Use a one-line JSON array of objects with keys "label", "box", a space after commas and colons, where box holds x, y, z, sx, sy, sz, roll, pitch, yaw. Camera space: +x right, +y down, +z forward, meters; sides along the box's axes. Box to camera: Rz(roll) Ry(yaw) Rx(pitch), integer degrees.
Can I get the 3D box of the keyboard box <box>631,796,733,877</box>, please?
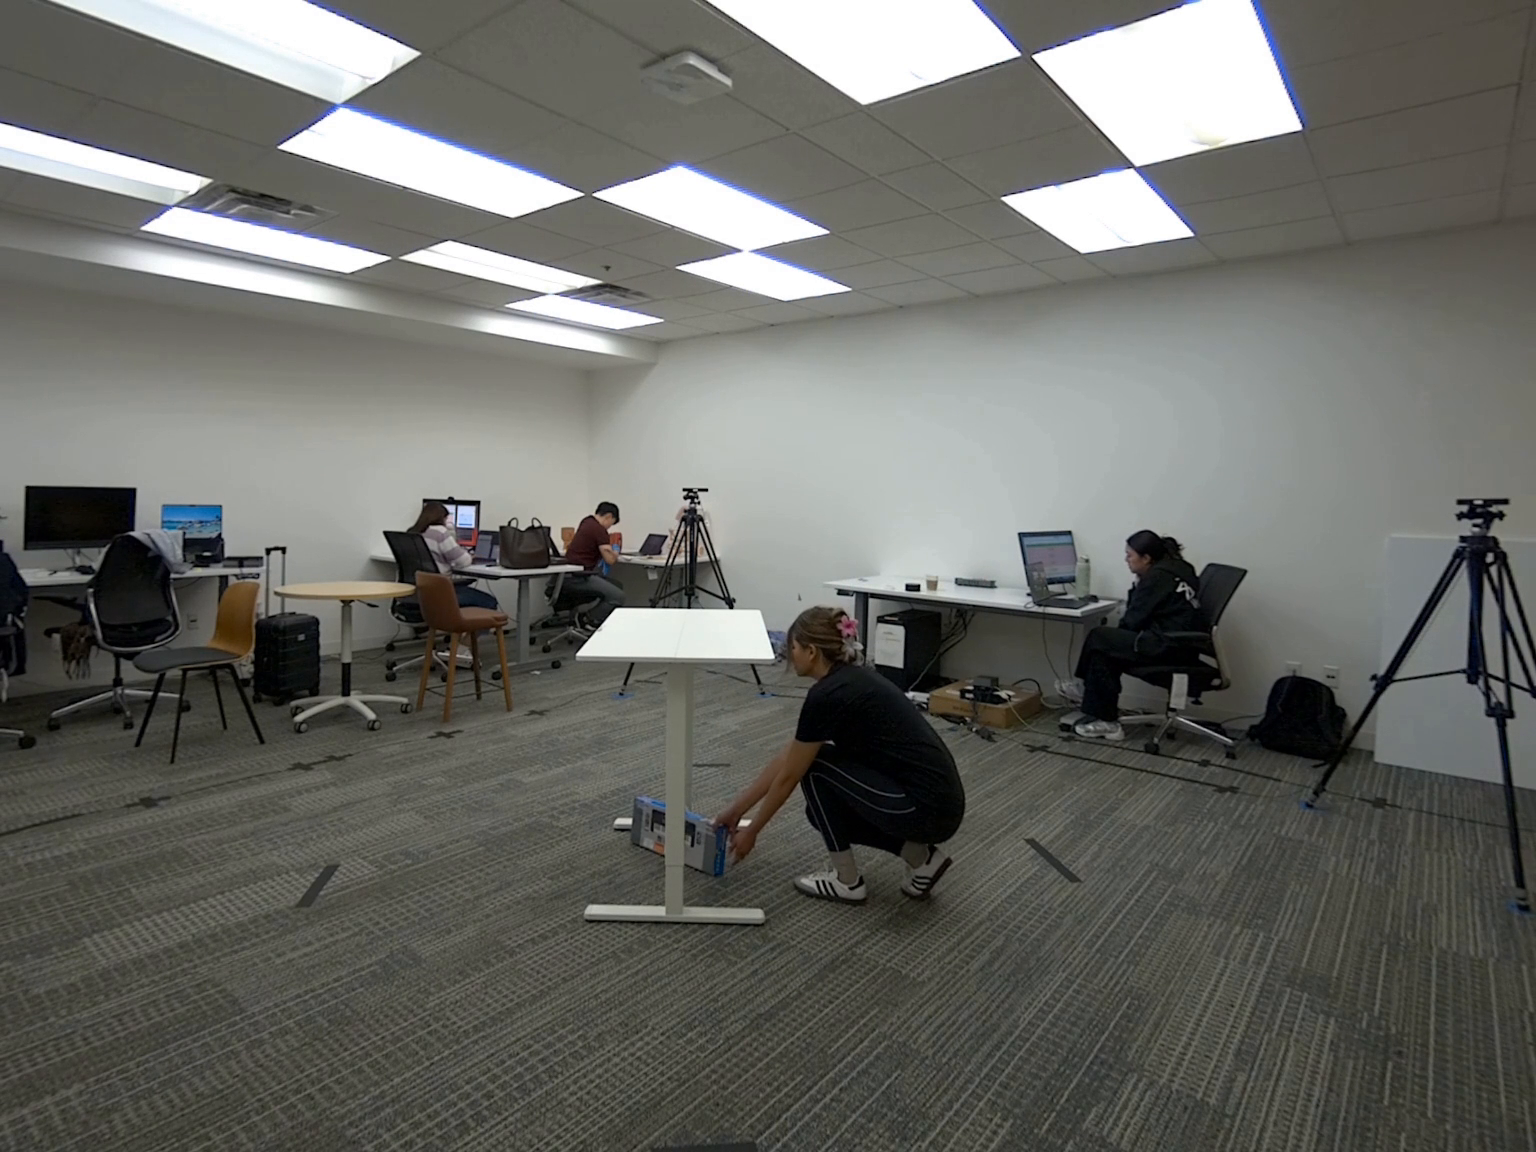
[{"label": "keyboard box", "box": [-0.356, 0.973, 3.210, 0.452, 0.176, 0.057, 6, -2, 39]}]
